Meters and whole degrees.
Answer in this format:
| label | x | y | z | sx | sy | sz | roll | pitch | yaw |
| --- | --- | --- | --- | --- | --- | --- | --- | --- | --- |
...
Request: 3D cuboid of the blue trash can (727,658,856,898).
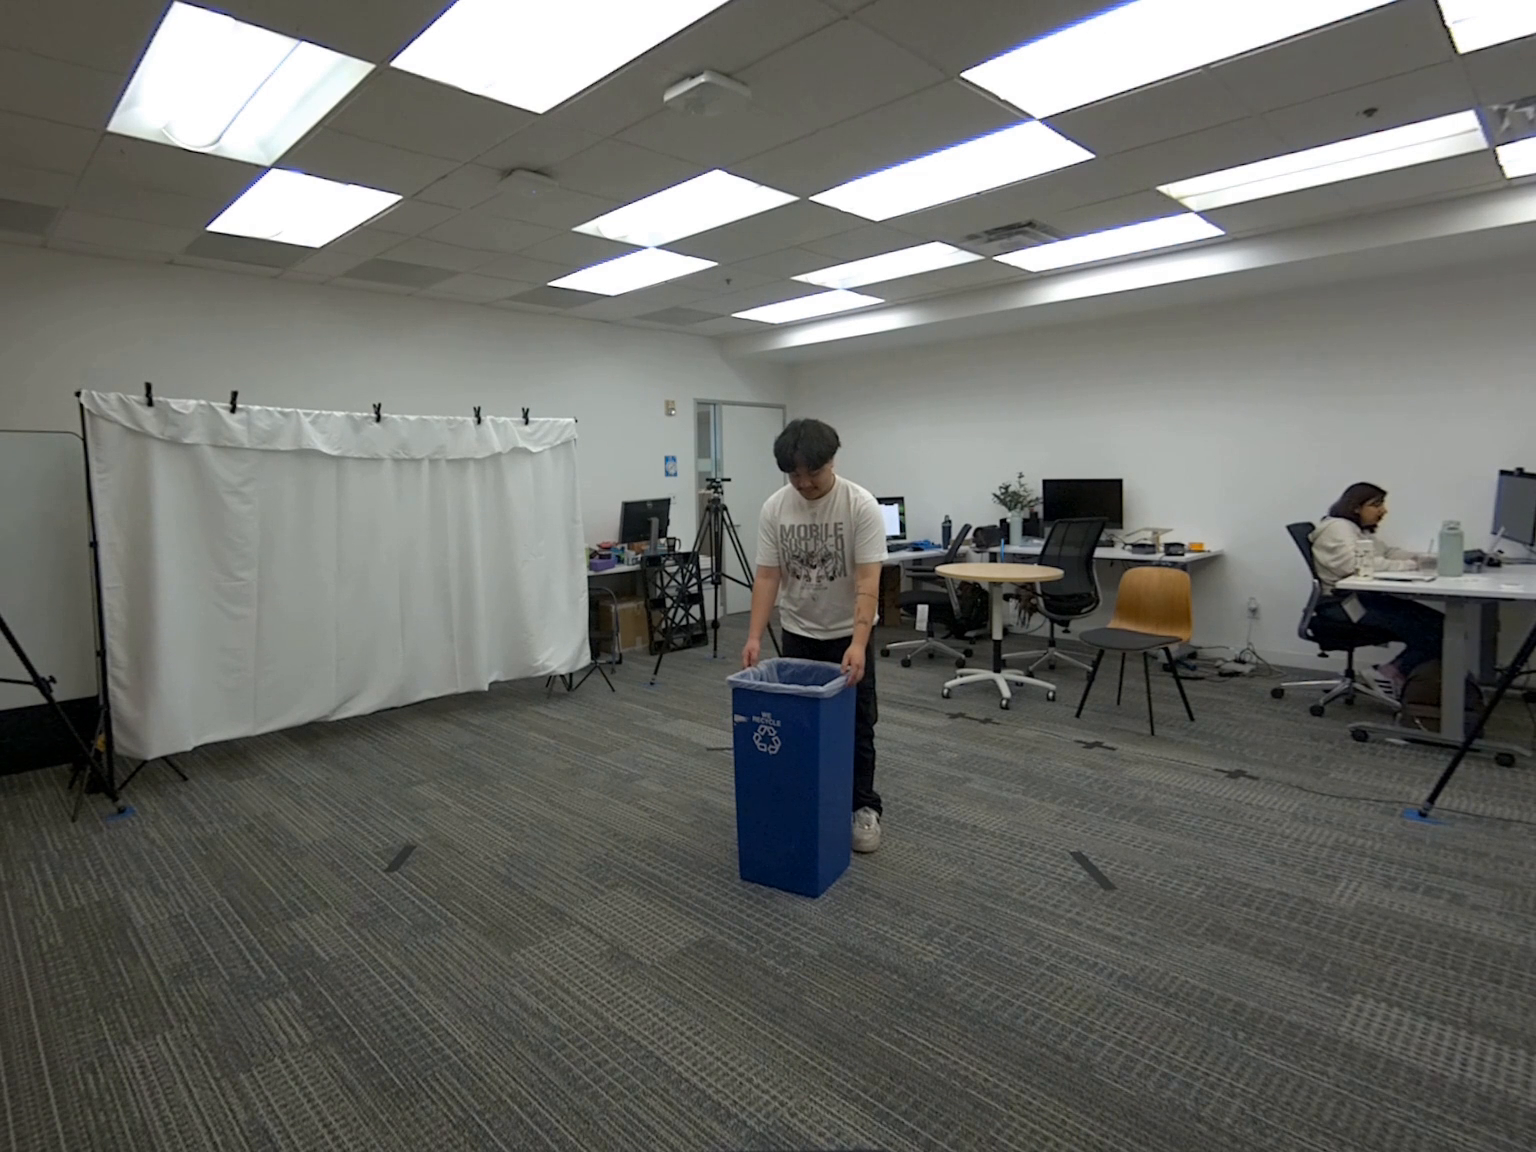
| label | x | y | z | sx | sy | sz | roll | pitch | yaw |
| --- | --- | --- | --- | --- | --- | --- | --- | --- | --- |
| blue trash can | 0.100 | 0.688 | 3.012 | 0.383 | 0.711 | 0.370 | 1 | 5 | 29 |
